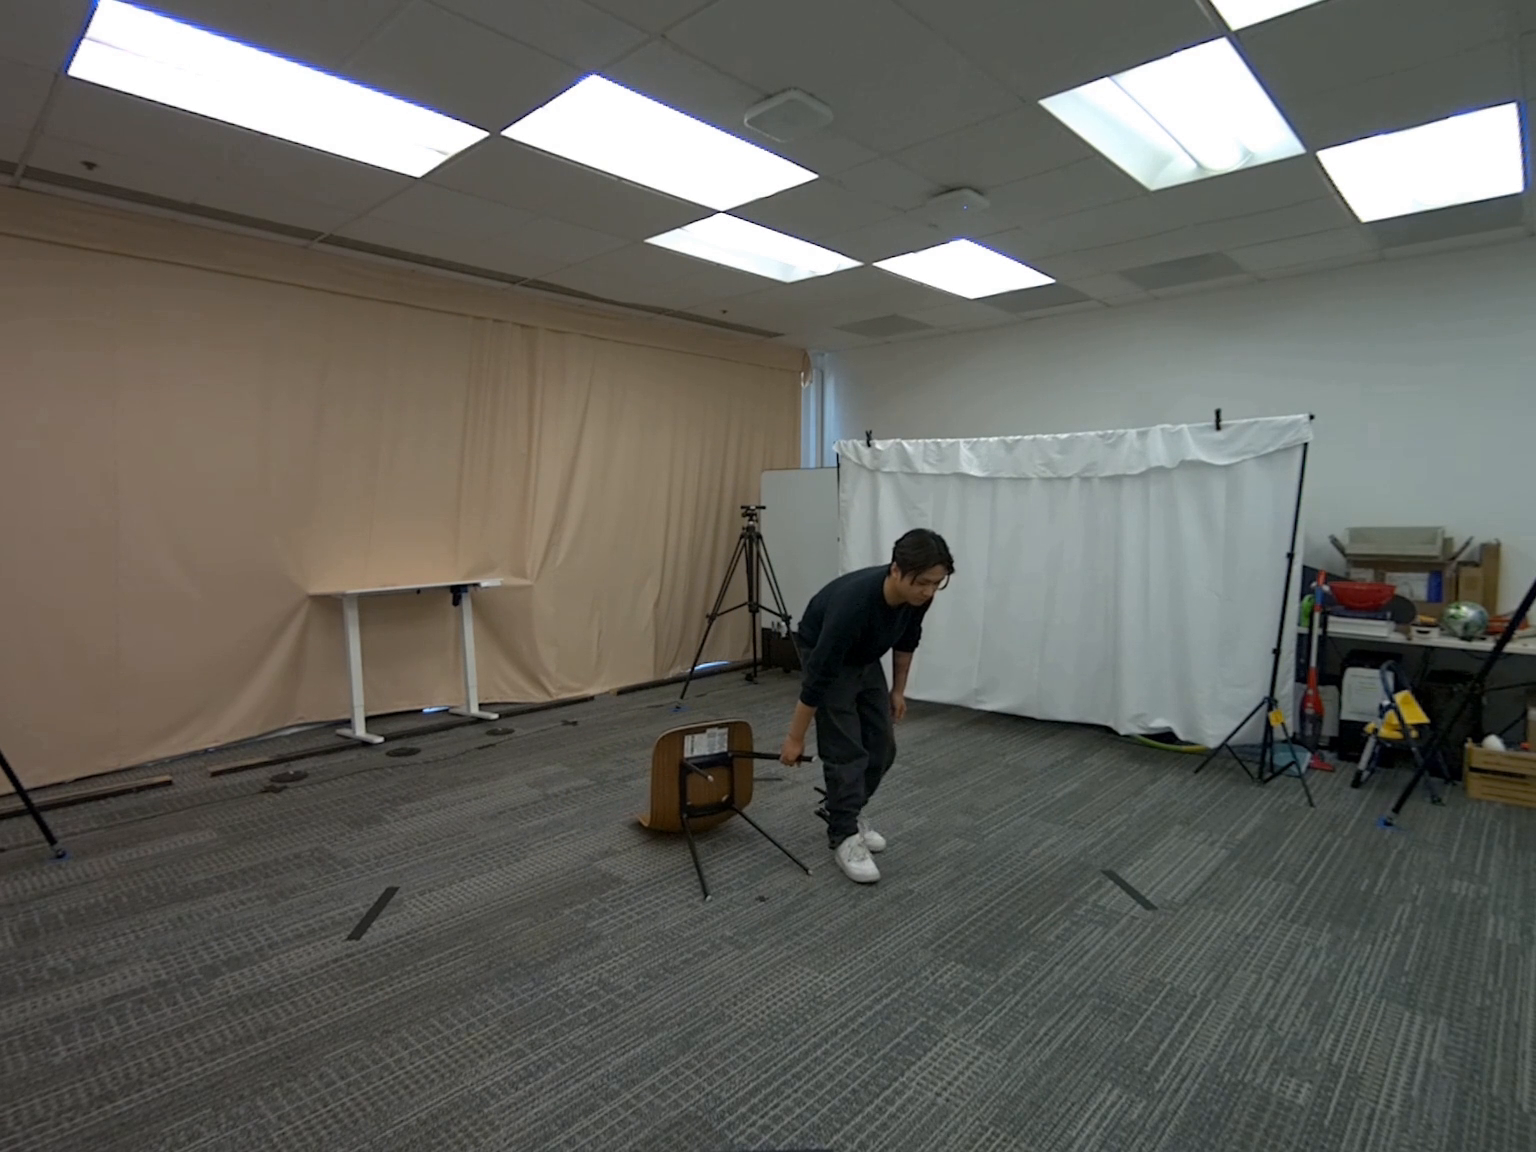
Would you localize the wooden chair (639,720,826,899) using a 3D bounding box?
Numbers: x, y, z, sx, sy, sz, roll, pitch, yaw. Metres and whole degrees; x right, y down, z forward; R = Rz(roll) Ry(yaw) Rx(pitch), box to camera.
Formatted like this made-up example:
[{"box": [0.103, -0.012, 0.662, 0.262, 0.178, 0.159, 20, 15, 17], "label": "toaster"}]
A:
[{"box": [-0.239, 0.854, 3.420, 0.465, 0.522, 0.902, -2, 3, -30], "label": "wooden chair"}]
